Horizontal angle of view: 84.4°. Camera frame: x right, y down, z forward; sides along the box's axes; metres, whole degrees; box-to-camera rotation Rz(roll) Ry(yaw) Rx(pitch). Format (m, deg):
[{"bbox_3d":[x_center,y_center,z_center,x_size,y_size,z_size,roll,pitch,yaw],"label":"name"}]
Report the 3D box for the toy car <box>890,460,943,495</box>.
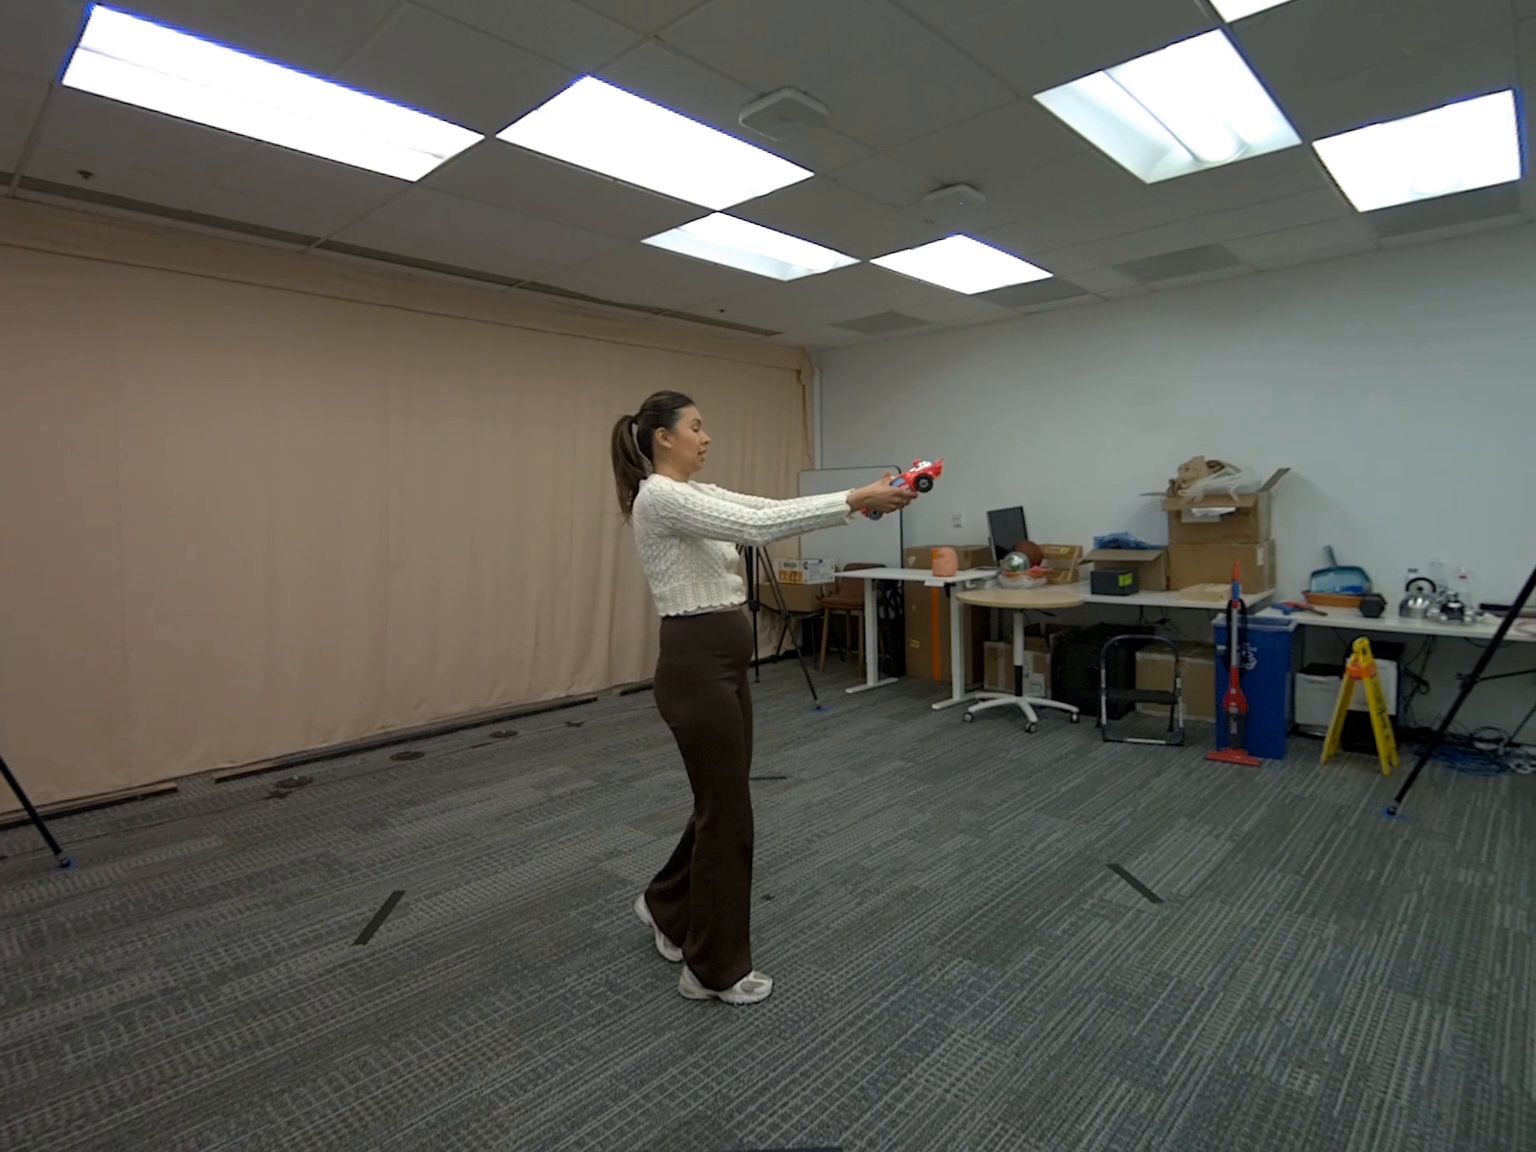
[{"bbox_3d":[0.374,-0.233,2.241,0.256,0.084,0.129,-41,-3,15],"label":"toy car"}]
